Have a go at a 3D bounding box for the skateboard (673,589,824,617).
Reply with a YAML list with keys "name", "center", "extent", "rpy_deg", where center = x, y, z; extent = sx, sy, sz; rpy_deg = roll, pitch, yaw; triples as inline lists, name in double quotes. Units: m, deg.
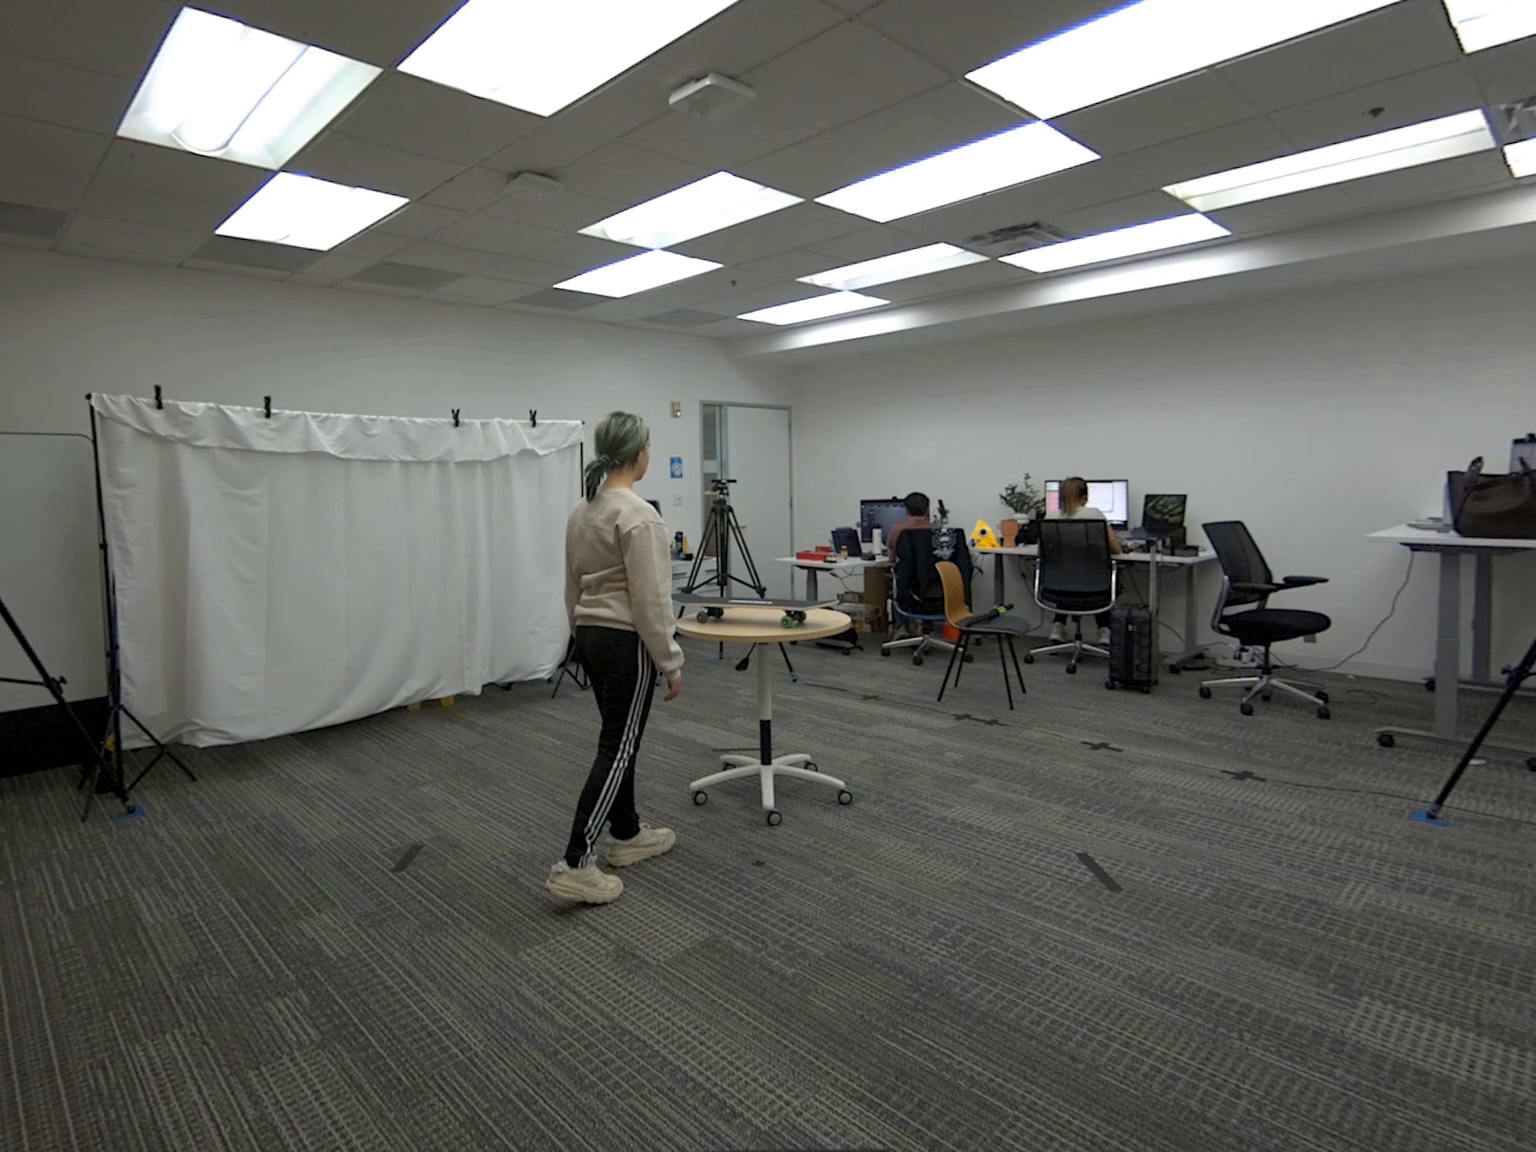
- name: "skateboard"
  center: [-0.071, 0.152, 3.685]
  extent: [0.804, 0.110, 0.189]
  rpy_deg: [1, 5, 27]
